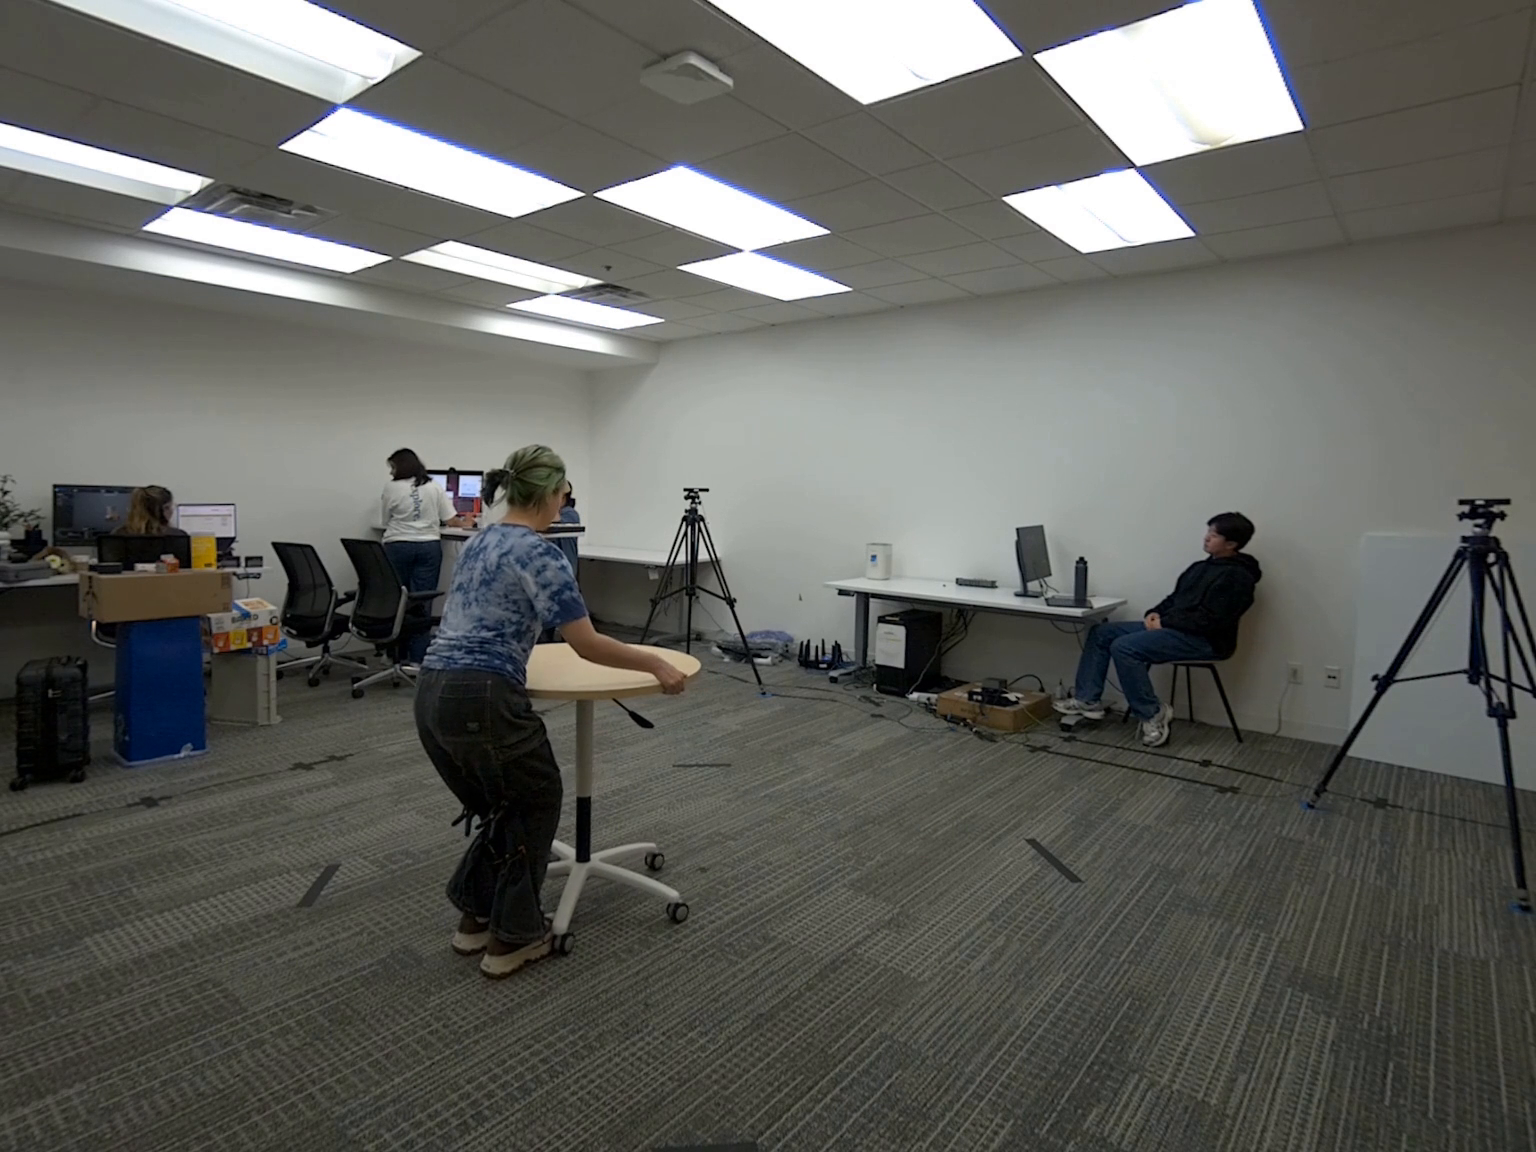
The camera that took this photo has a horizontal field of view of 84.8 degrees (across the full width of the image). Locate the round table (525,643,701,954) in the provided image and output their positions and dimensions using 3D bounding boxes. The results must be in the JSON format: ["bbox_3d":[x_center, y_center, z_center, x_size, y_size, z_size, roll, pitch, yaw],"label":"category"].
[{"bbox_3d":[-0.615,0.692,2.839,0.763,0.792,0.767,1,4,-2],"label":"round table"}]
